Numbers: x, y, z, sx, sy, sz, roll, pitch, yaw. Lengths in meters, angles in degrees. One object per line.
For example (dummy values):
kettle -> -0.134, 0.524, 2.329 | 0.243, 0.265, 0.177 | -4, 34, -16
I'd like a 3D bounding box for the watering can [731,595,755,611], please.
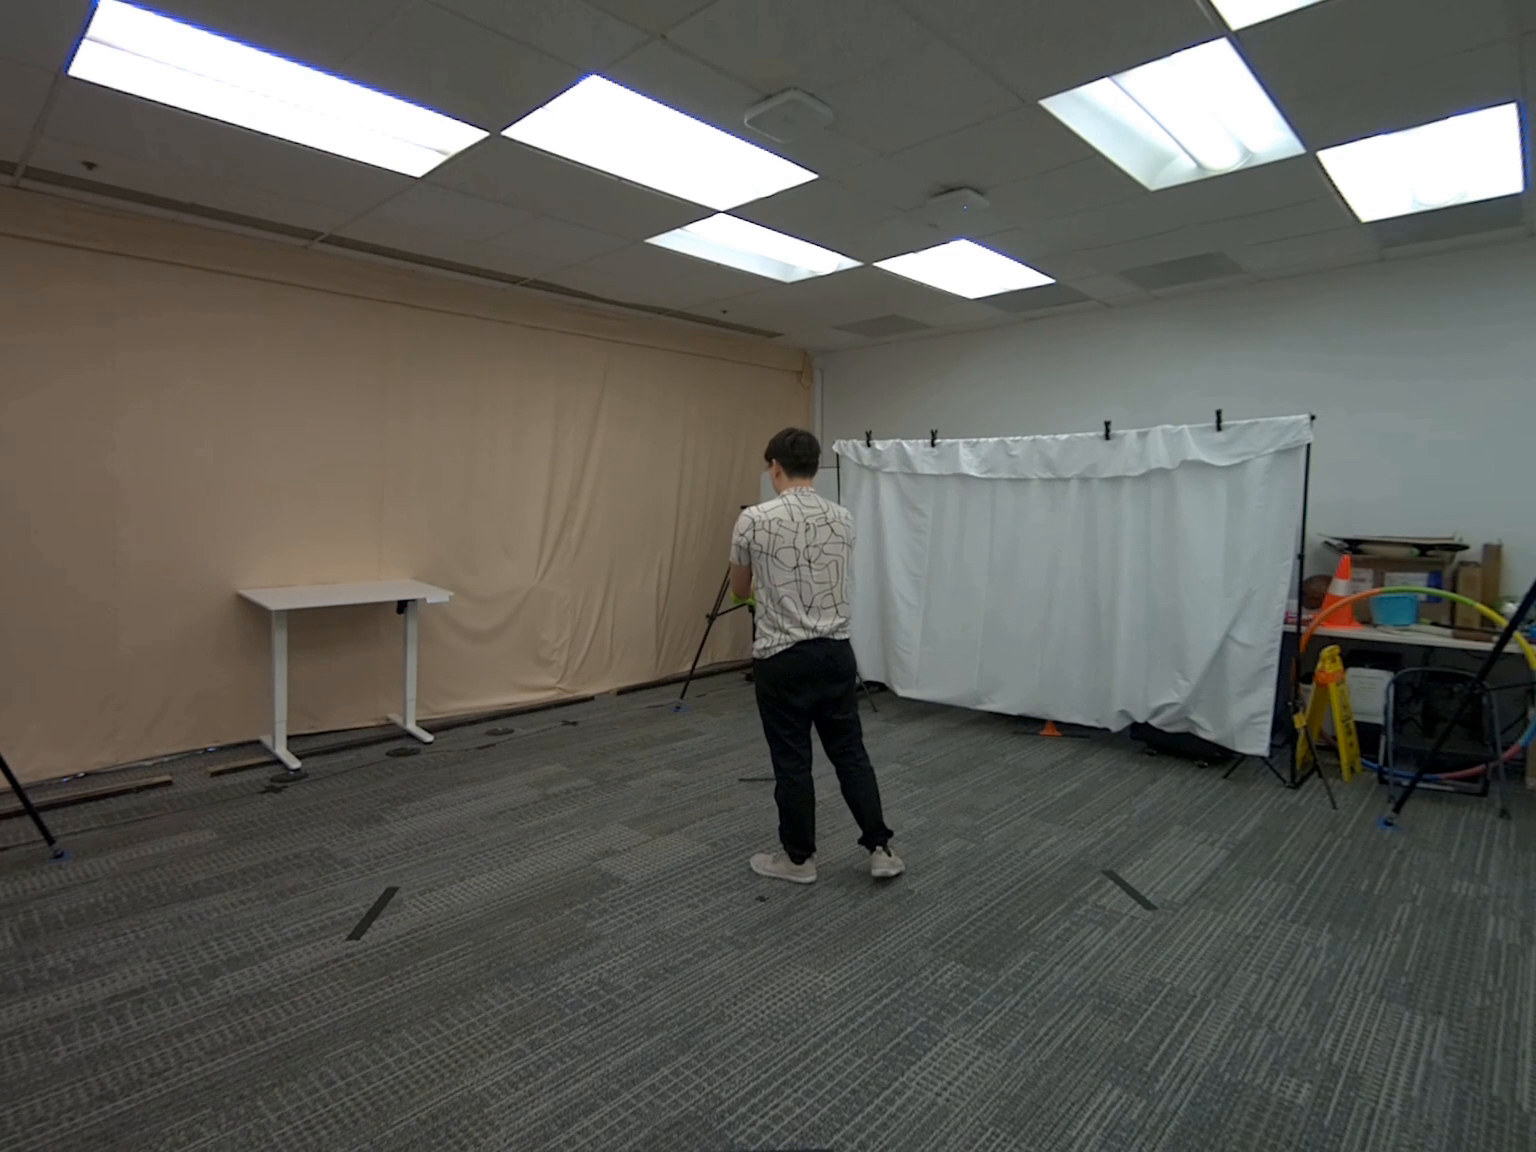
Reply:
watering can -> -0.053, 0.027, 3.618 | 0.180, 0.095, 0.280 | -9, 34, 20
